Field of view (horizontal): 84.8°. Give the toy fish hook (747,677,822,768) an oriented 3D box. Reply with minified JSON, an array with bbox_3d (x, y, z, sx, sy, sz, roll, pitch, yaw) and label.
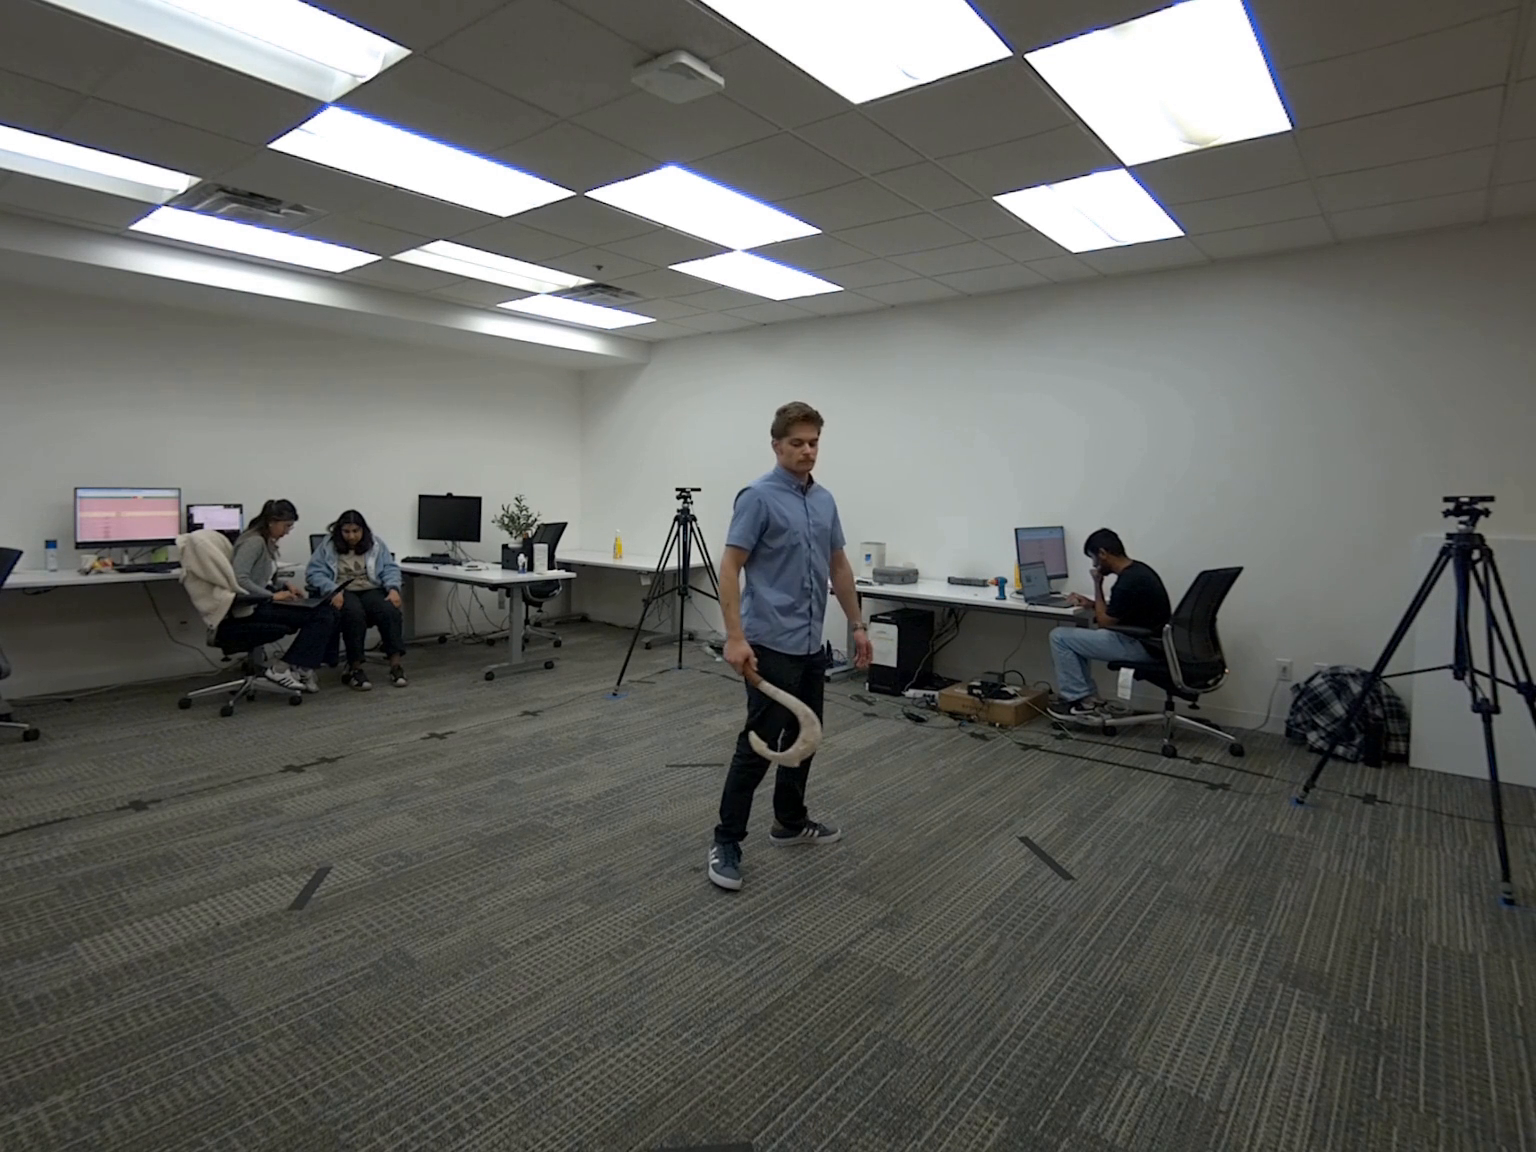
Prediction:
[{"bbox_3d":[-0.036,0.426,2.889,0.224,0.046,0.528,-38,54,-13],"label":"toy fish hook"}]
